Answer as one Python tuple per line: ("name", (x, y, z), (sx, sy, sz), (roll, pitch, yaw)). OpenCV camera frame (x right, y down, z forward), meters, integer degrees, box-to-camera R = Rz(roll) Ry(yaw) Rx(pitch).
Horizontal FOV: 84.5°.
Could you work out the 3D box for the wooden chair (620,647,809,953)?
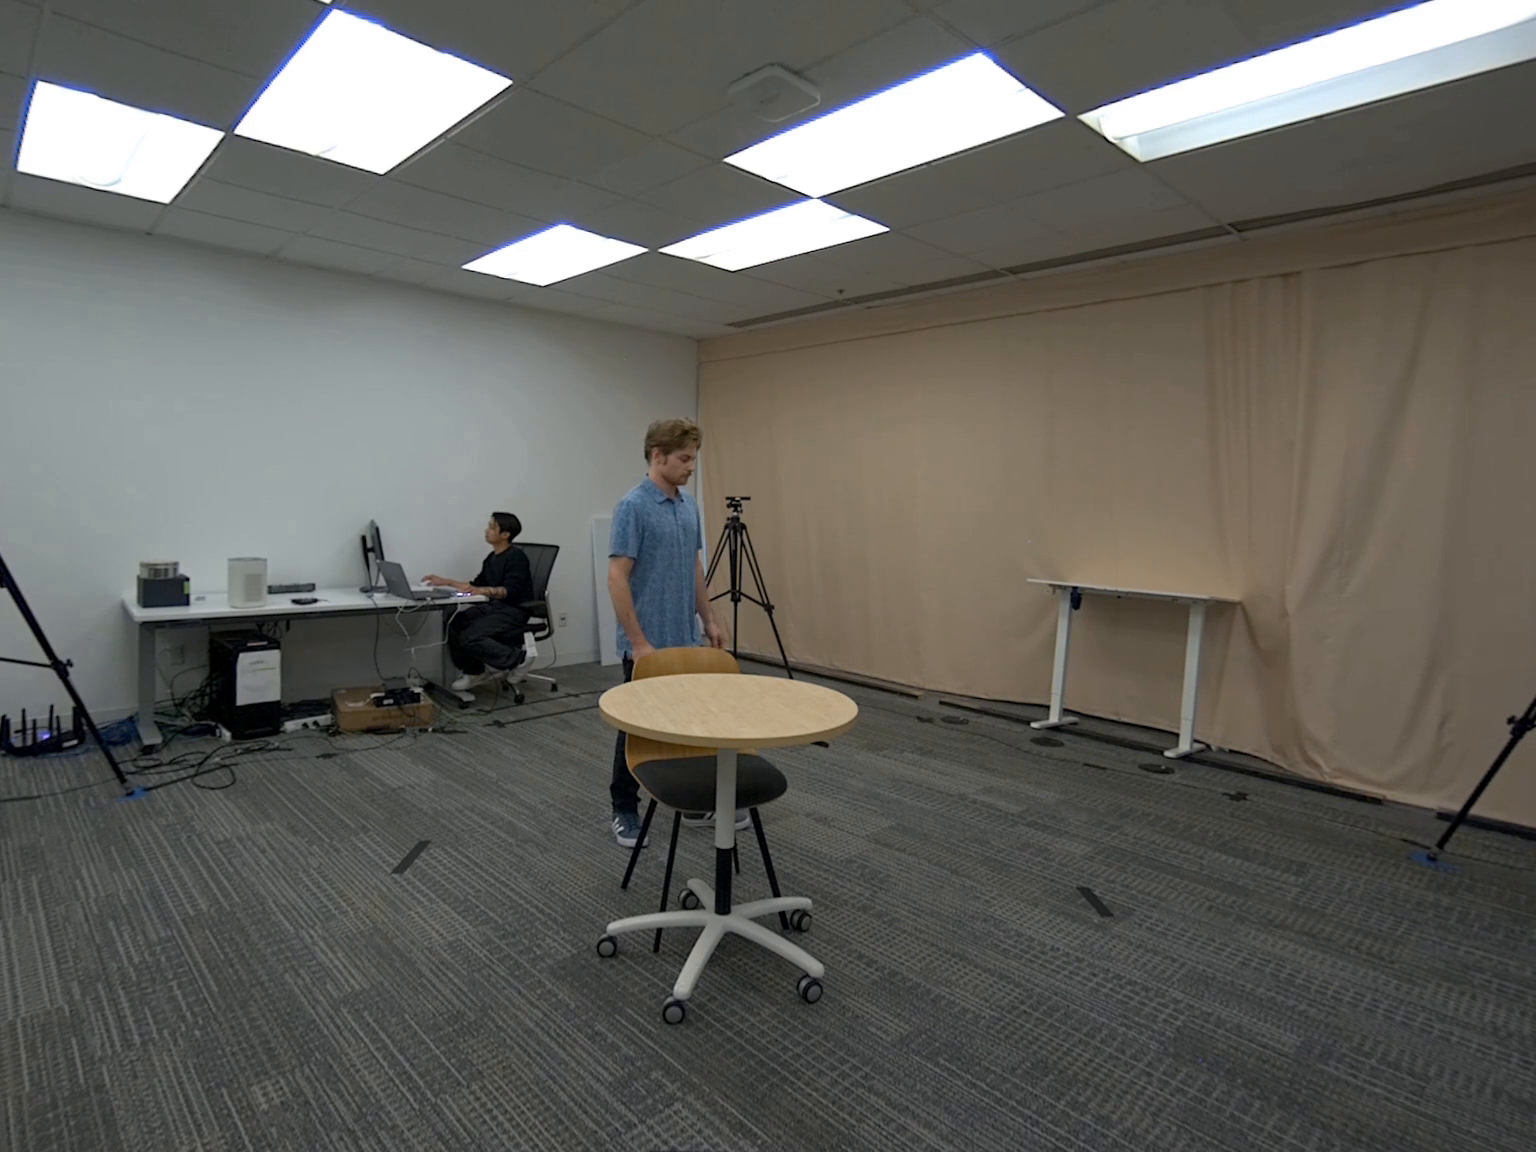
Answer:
("wooden chair", (-0.219, 0.703, 2.818), (0.470, 0.878, 0.531), (0, -1, -22))
